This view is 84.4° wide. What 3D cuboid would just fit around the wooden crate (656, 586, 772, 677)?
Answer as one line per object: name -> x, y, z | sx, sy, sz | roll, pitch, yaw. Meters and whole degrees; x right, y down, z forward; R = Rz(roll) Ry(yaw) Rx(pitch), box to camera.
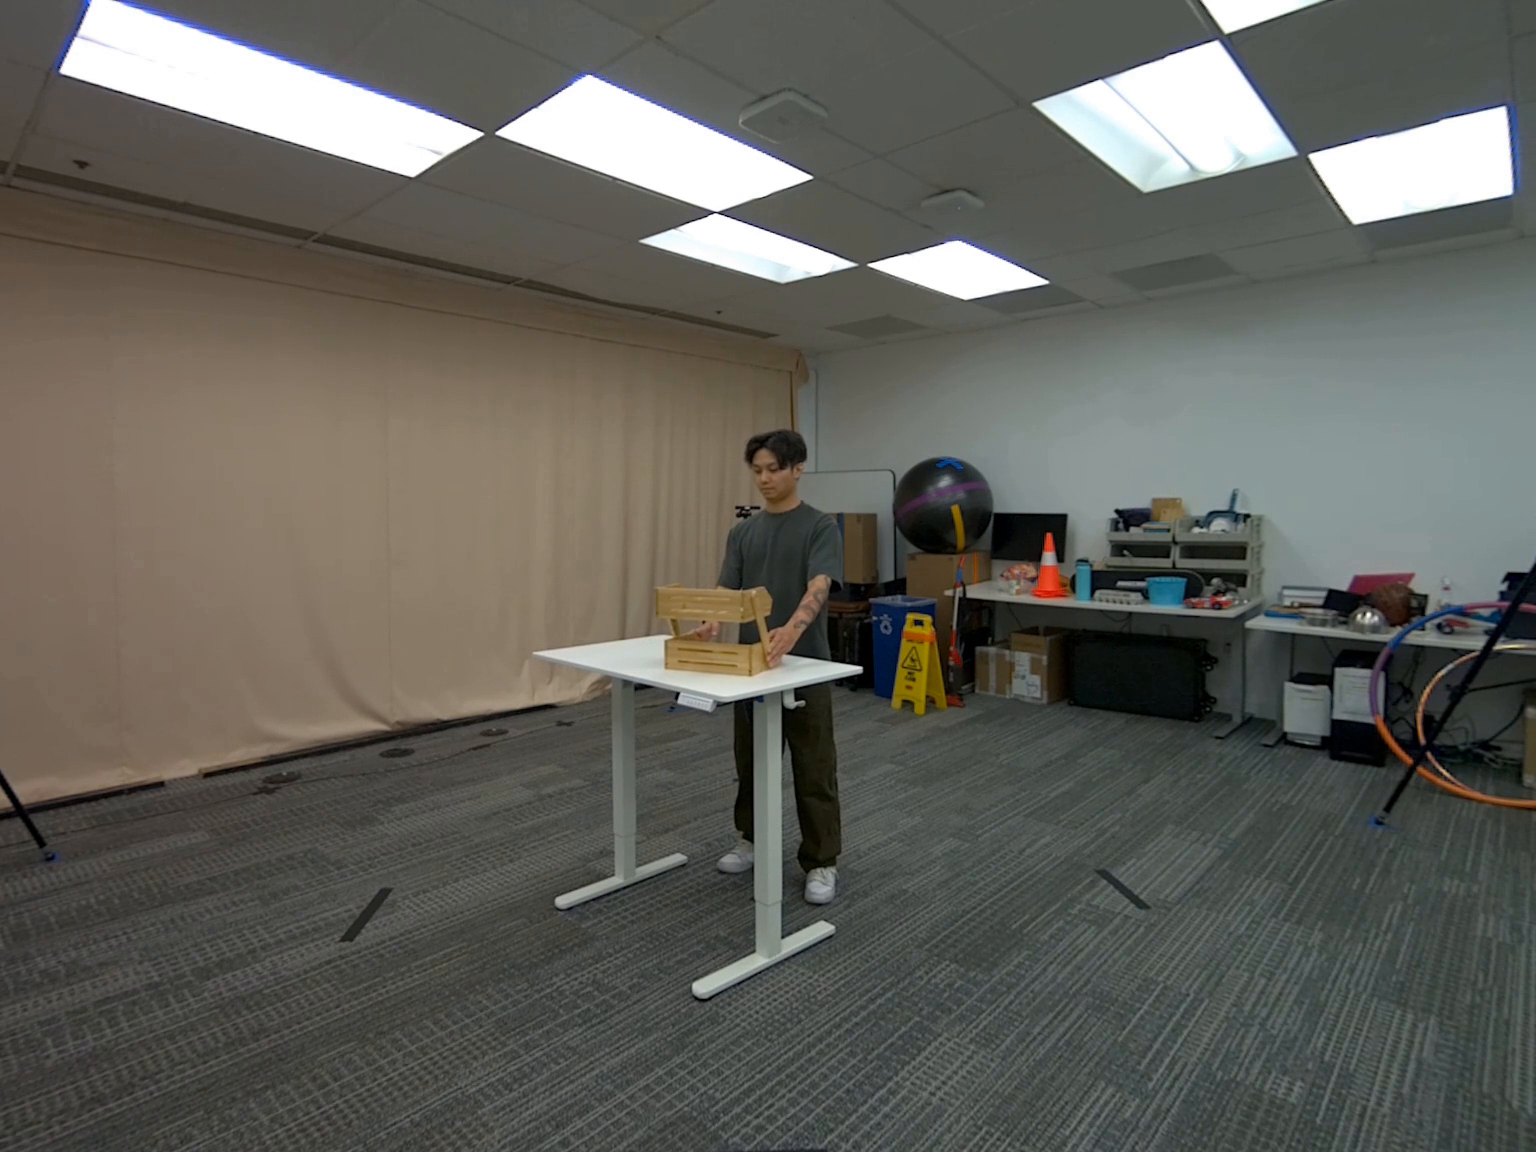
wooden crate -> -0.147, 0.158, 2.659 | 0.333, 0.273, 0.295 | 1, 3, 25
